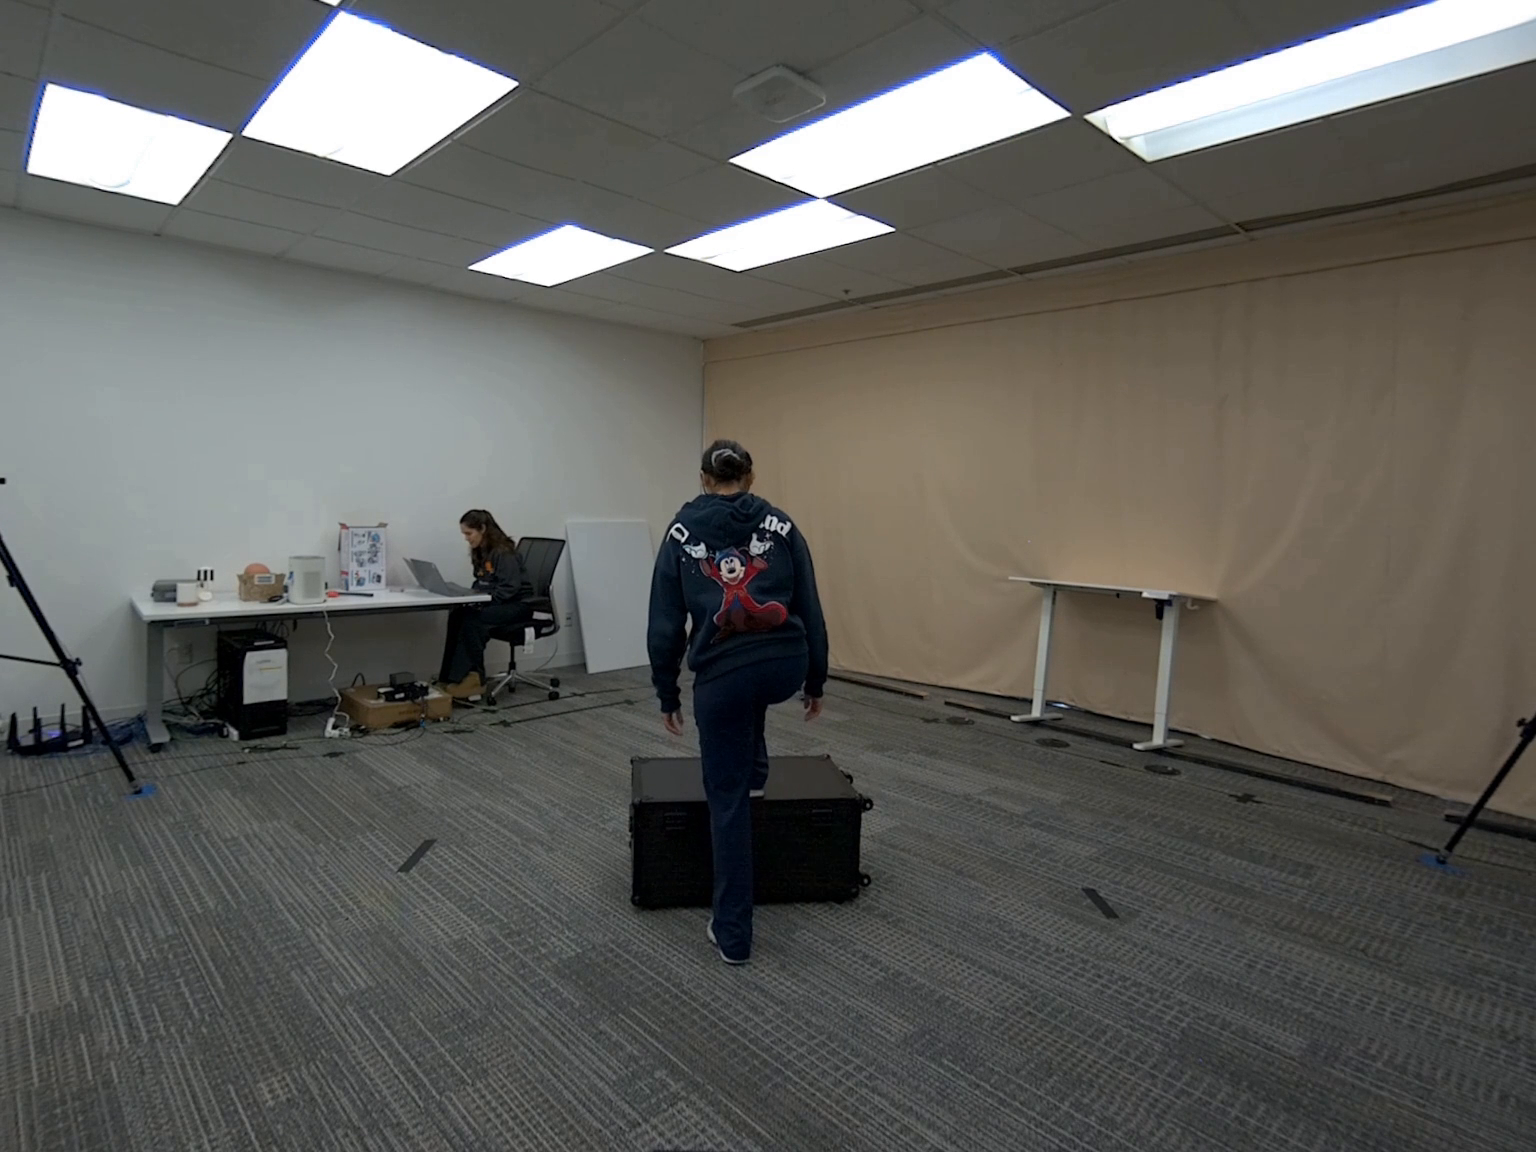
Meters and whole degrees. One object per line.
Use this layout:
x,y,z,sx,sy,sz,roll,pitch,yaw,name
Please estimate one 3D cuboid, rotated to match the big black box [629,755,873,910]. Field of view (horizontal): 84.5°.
-0.077,0.919,3.090,0.855,0.395,0.527,1,5,-9,big black box
